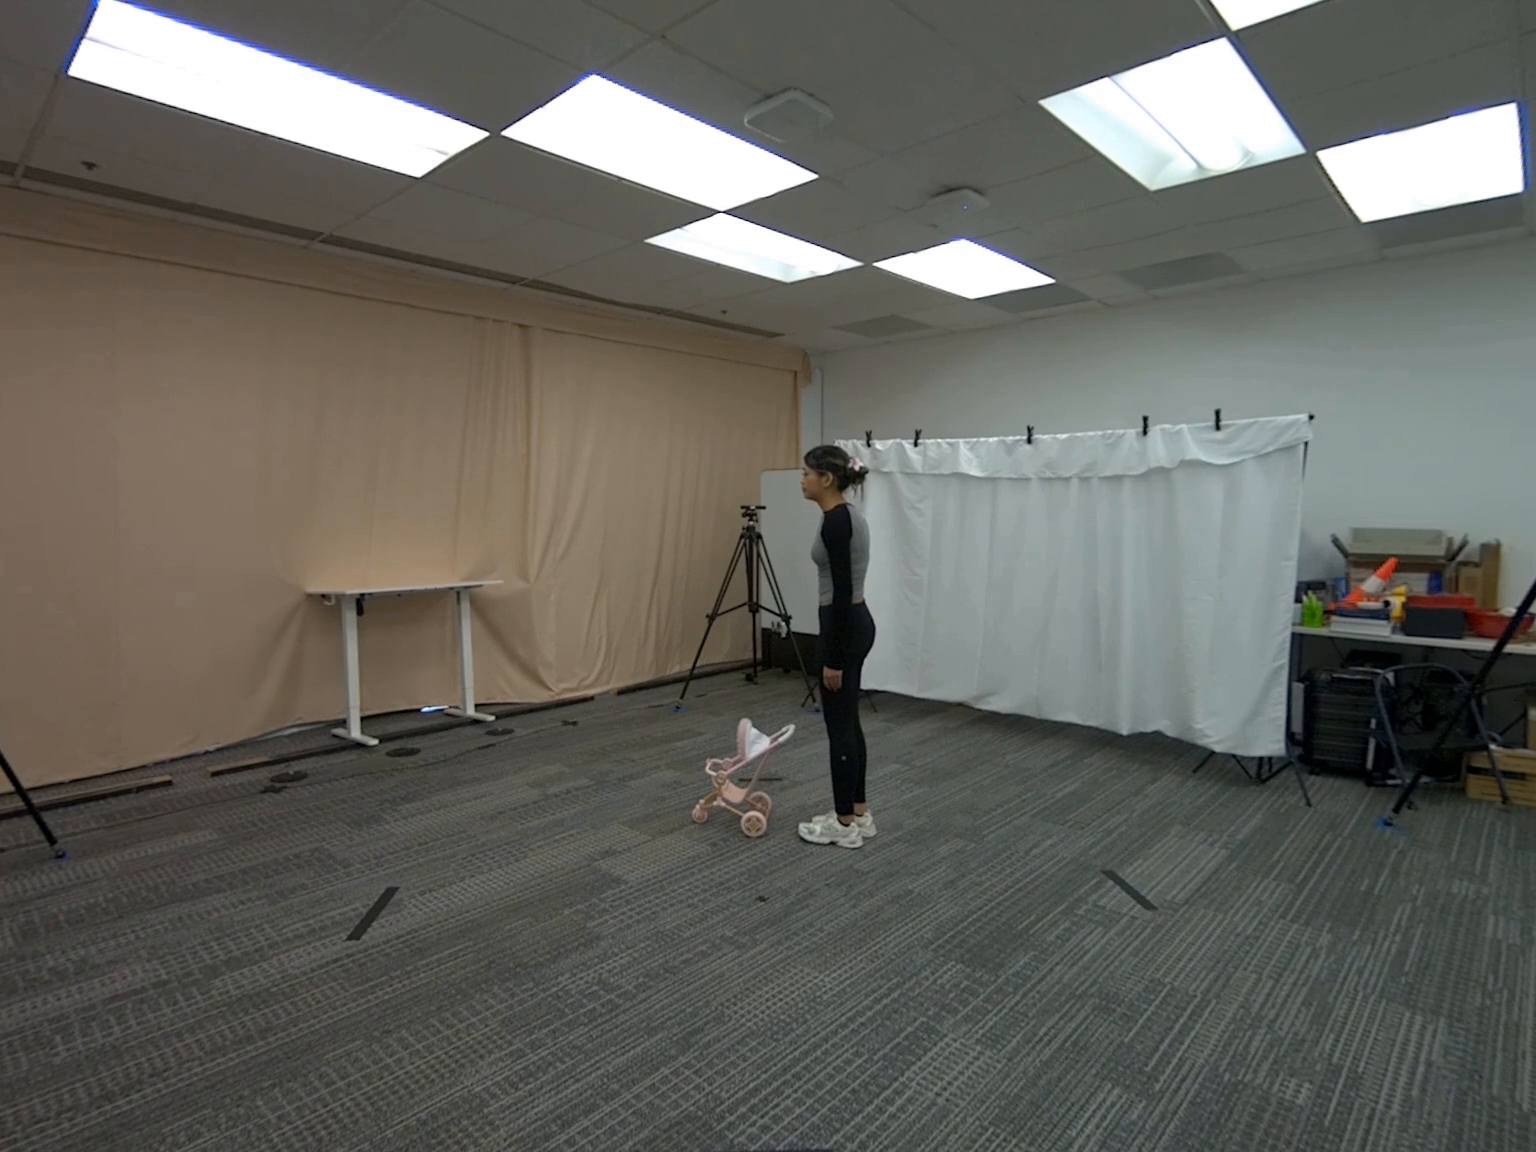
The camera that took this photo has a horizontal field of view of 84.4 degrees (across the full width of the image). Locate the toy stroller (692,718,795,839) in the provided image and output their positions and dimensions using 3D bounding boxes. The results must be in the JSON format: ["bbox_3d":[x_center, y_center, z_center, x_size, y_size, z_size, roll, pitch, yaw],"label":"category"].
[{"bbox_3d":[-0.112,0.866,3.673,0.346,0.534,0.278,16,6,11],"label":"toy stroller"}]
